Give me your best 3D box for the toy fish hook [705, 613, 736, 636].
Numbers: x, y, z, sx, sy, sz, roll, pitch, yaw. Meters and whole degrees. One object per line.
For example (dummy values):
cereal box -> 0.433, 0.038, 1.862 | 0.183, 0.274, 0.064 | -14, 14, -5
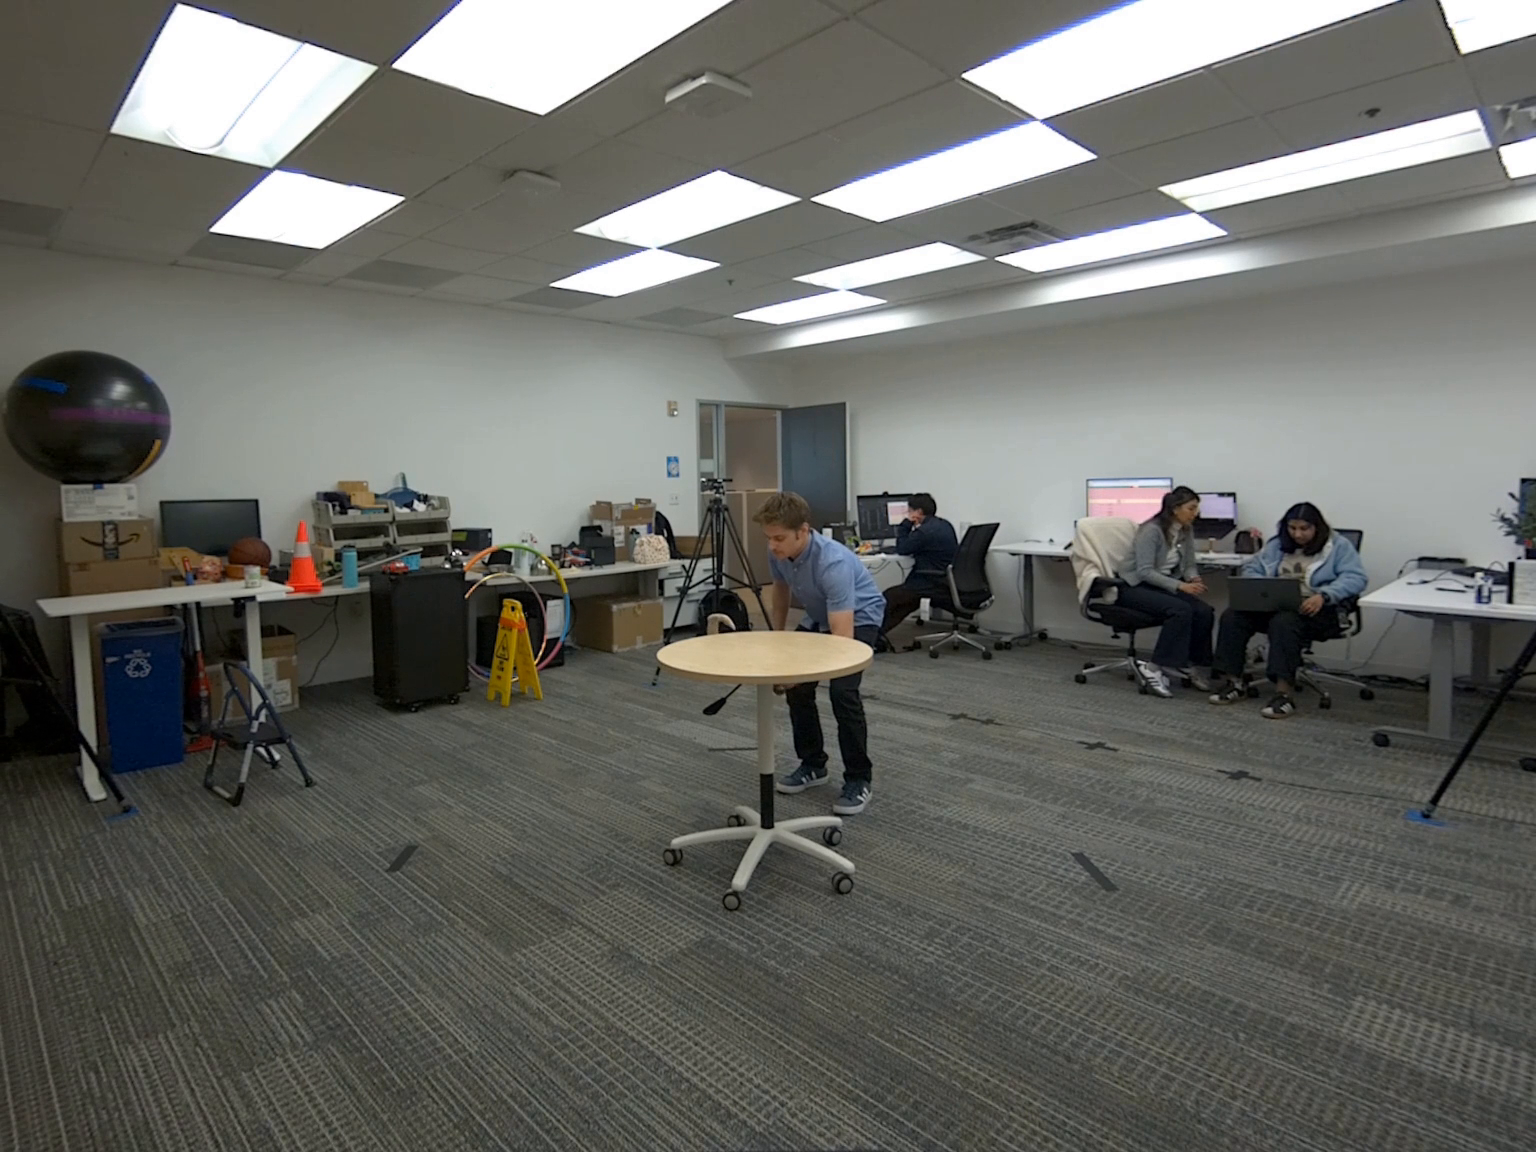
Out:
toy fish hook -> -0.091, 0.302, 3.465 | 0.047, 0.219, 0.526 | -23, 33, -31
